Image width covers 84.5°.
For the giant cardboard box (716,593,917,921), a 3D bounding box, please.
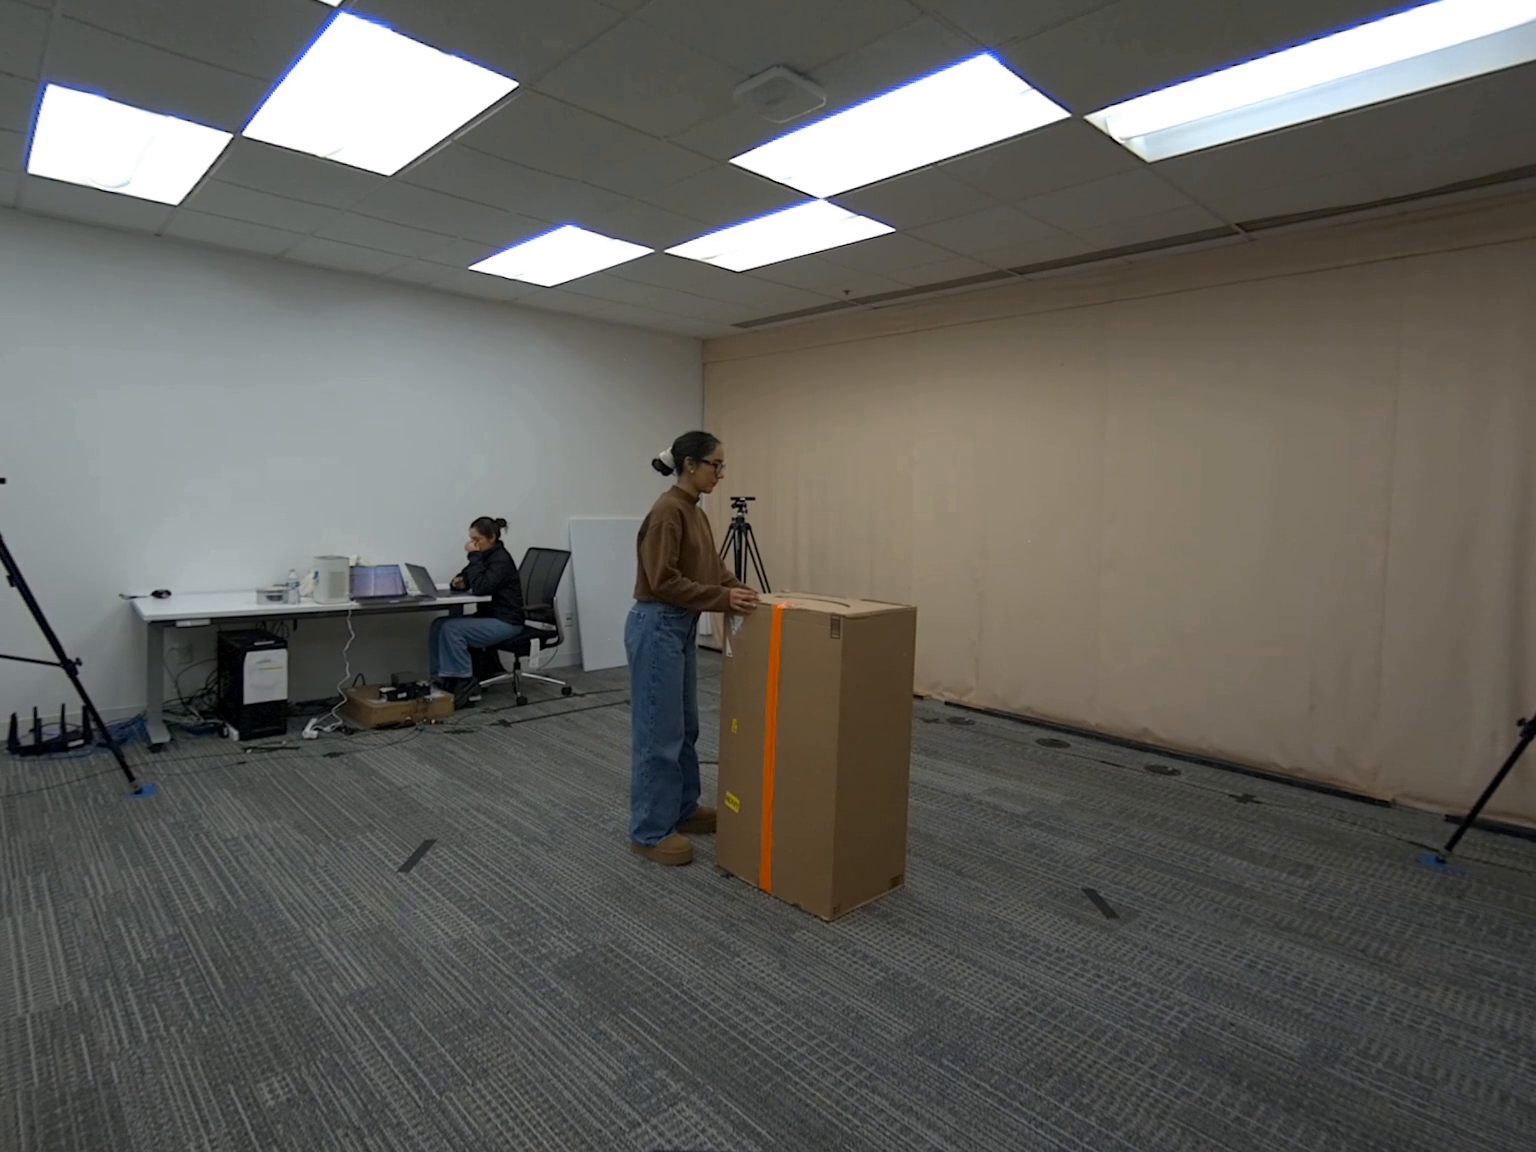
[{"bbox_3d":[0.162,0.605,3.093,0.416,1.024,0.592,0,4,-43],"label":"giant cardboard box"}]
